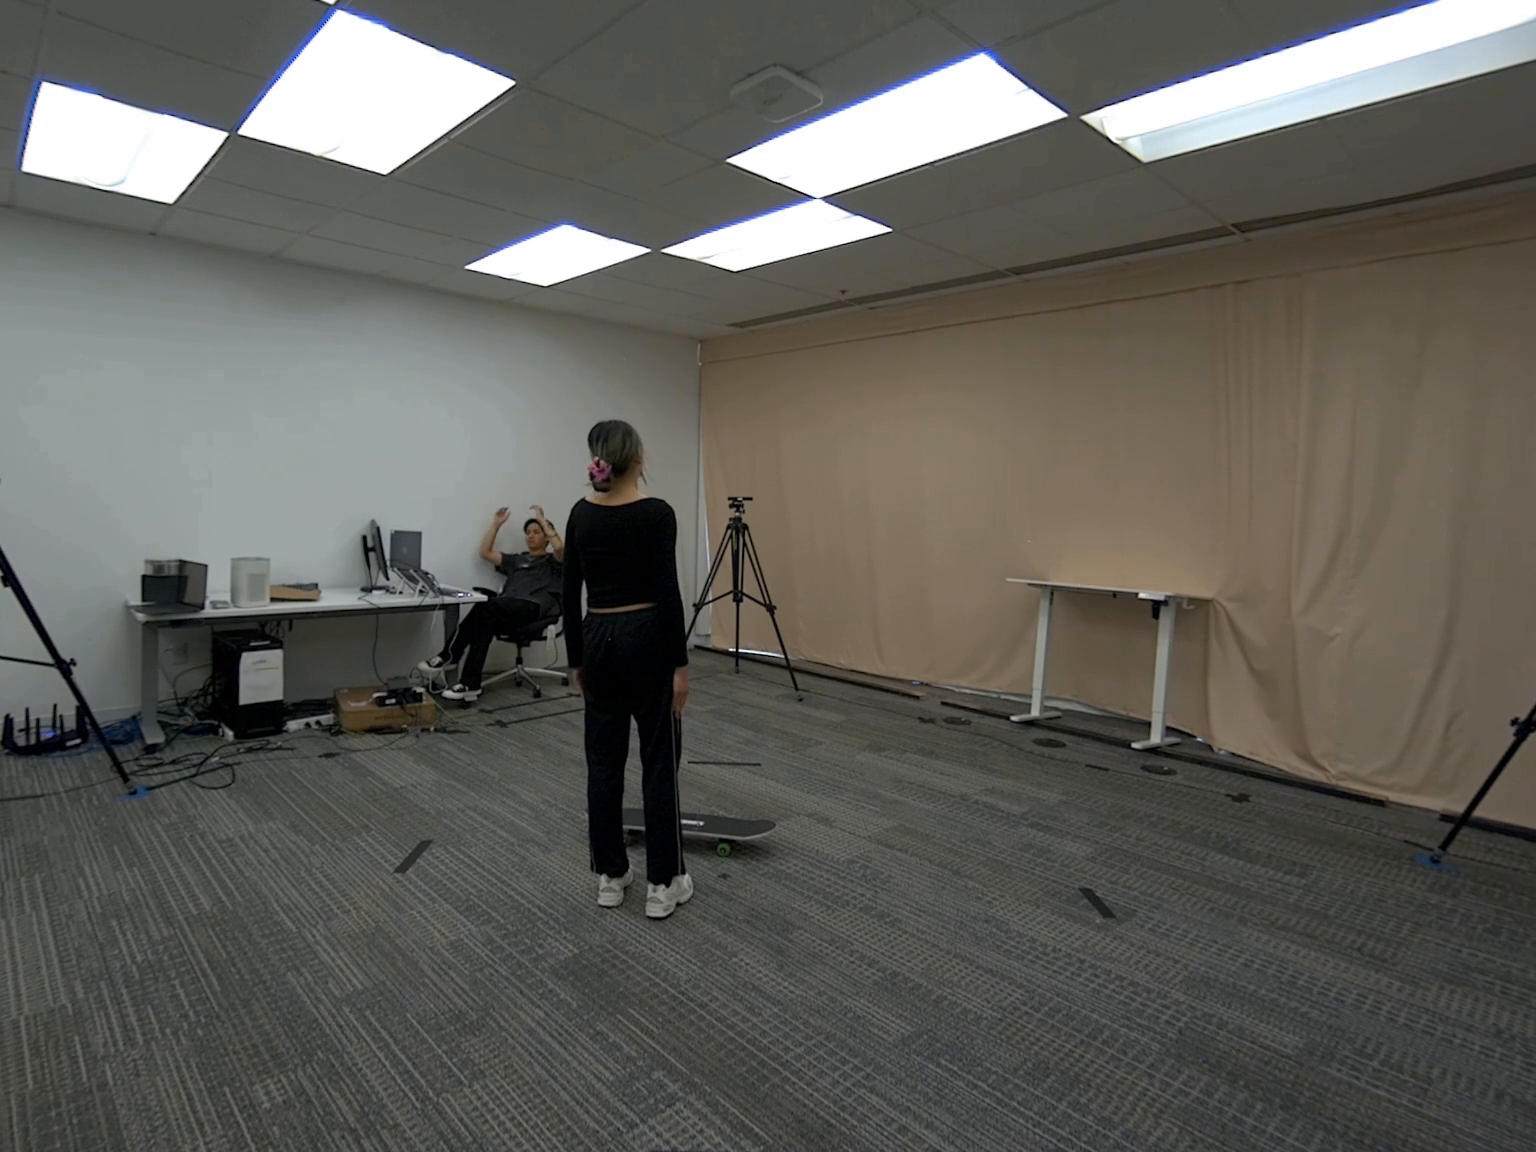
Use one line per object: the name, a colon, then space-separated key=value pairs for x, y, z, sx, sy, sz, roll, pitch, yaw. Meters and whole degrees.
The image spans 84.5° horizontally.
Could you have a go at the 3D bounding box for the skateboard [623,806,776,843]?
skateboard: x=-0.362 y=1.016 z=3.389 sx=0.793 sy=0.110 sz=0.192 roll=2 pitch=4 yaw=11
